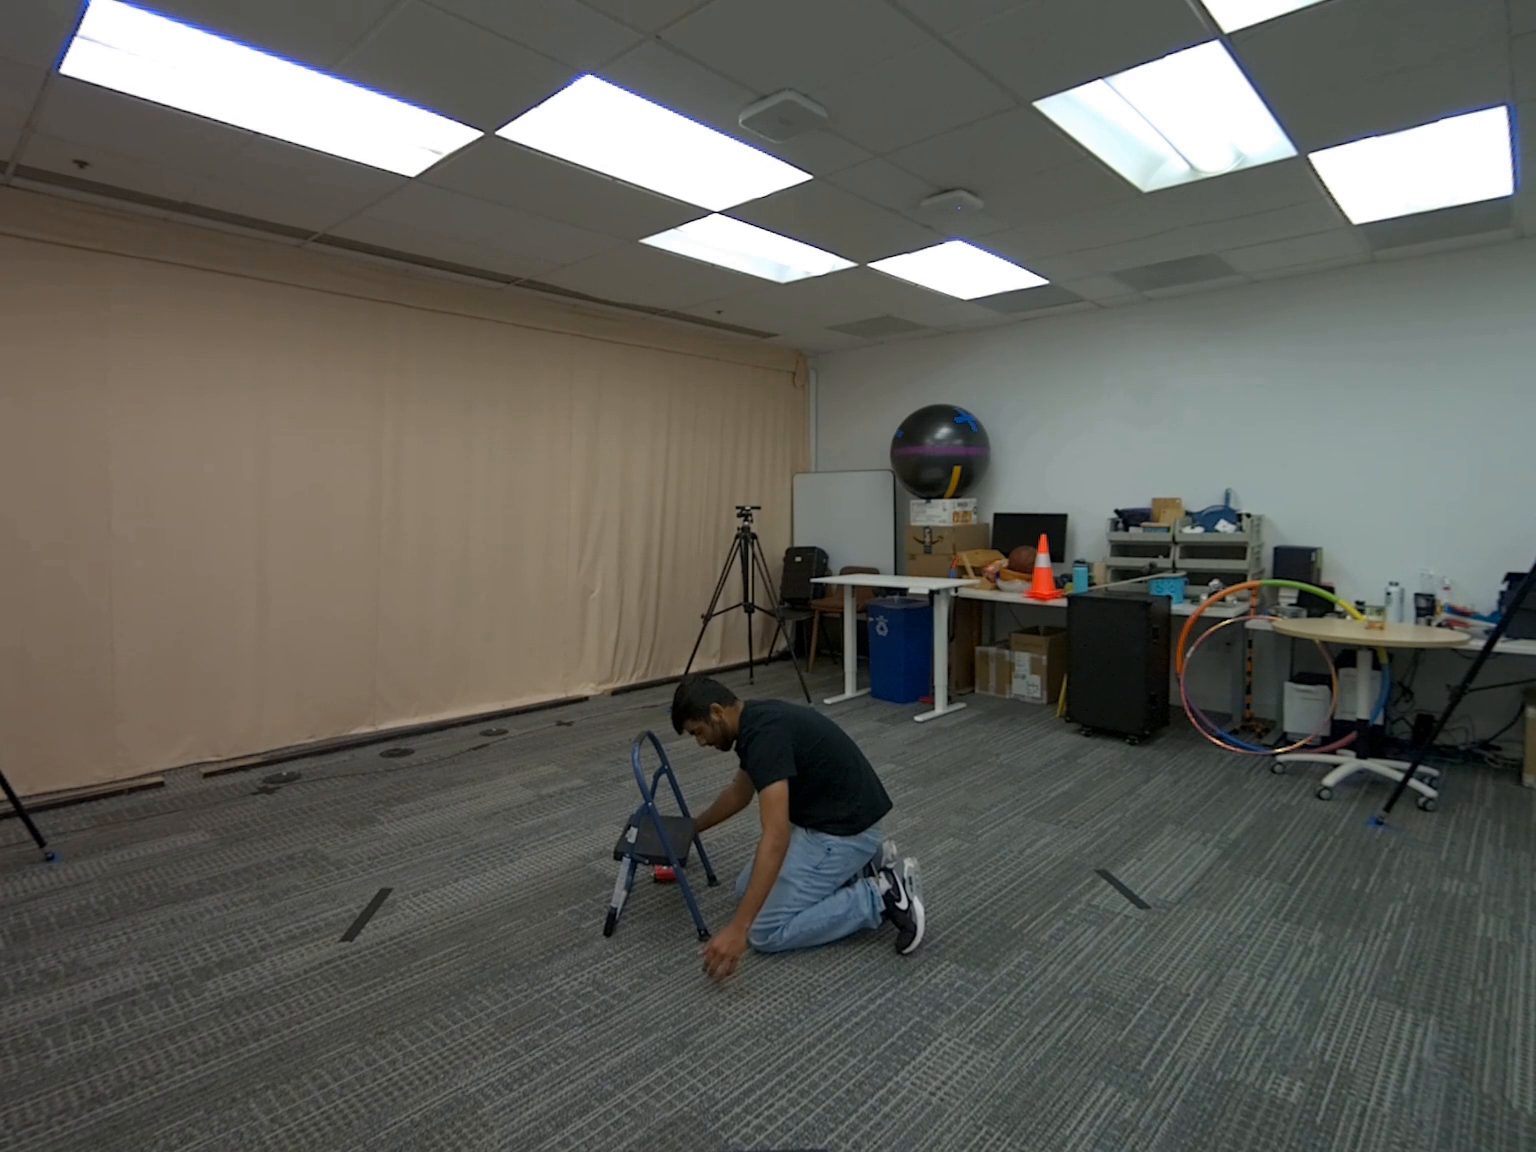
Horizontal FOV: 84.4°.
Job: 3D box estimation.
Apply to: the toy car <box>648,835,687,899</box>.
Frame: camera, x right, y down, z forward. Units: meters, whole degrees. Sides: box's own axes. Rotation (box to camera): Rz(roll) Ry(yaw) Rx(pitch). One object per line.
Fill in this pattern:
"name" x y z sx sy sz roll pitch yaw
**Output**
"toy car" -0.386 1.097 3.211 0.129 0.082 0.259 -3 16 -8
